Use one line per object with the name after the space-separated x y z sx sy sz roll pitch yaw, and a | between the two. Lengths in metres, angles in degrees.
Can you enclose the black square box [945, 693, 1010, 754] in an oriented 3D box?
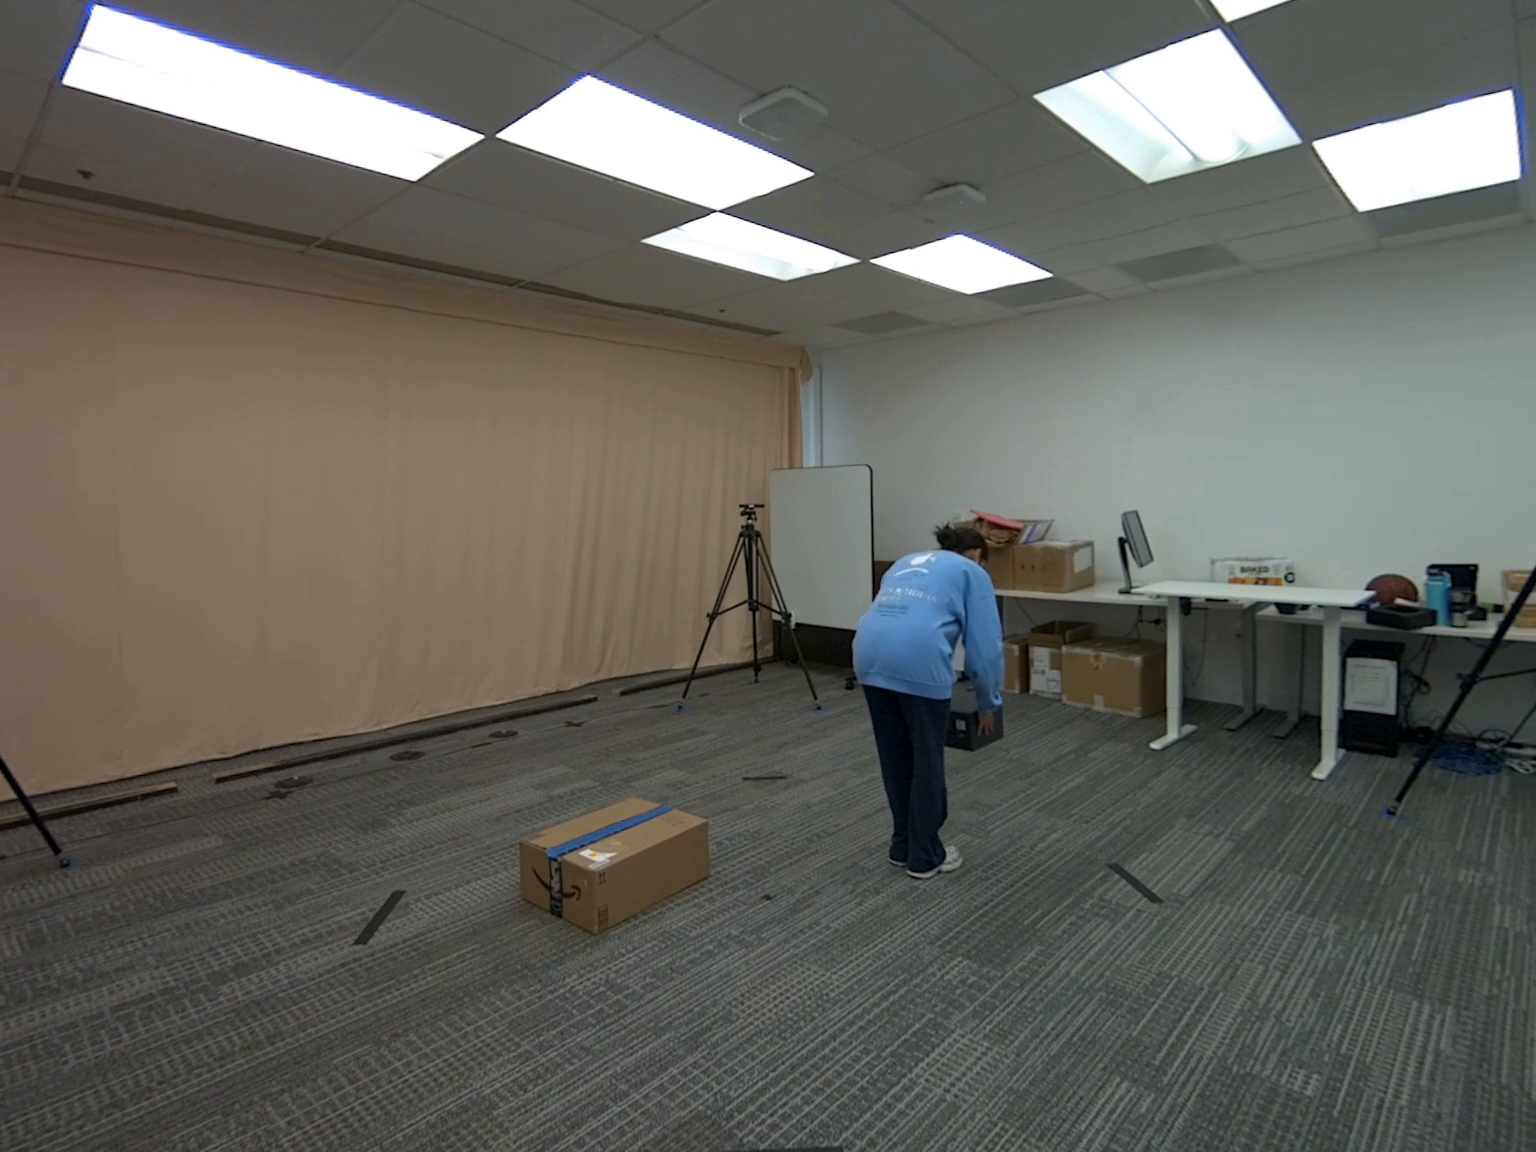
0.804 0.587 3.411 0.221 0.155 0.224 -10 7 -41 | black square box
